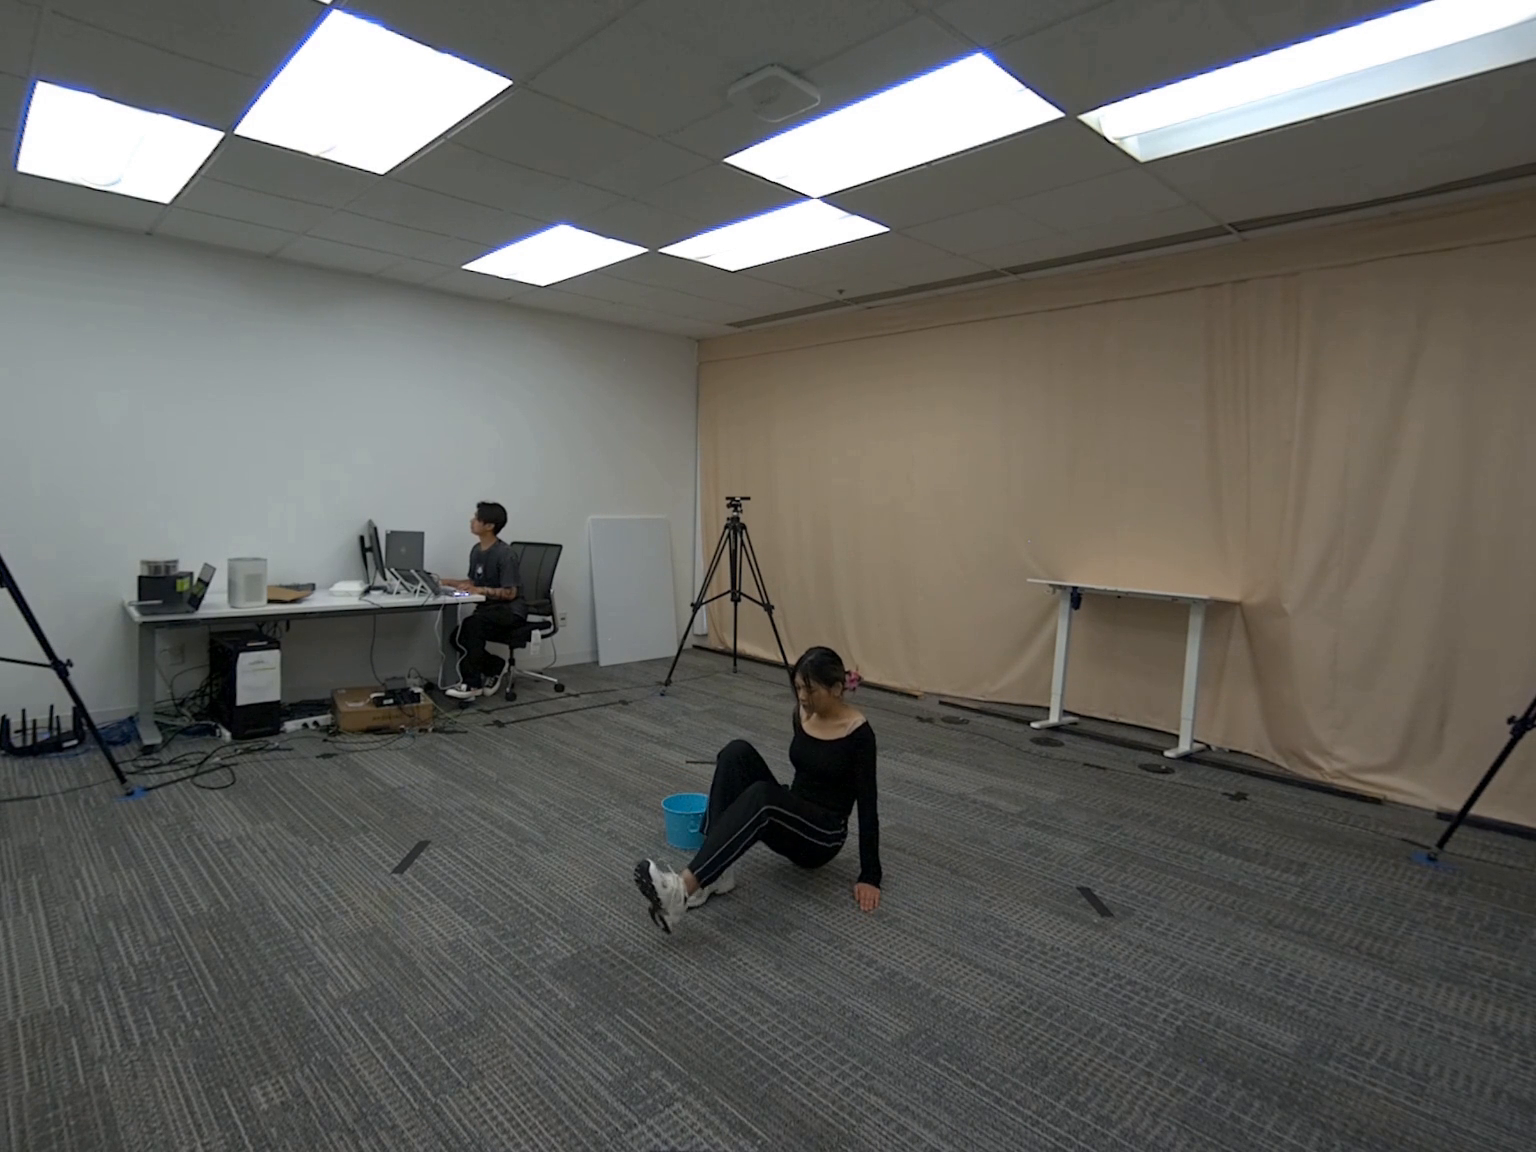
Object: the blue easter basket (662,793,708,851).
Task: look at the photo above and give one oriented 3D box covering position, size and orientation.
[{"bbox_3d":[-0.317,0.988,3.420,0.243,0.155,0.244,1,4,-1],"label":"blue easter basket"}]
